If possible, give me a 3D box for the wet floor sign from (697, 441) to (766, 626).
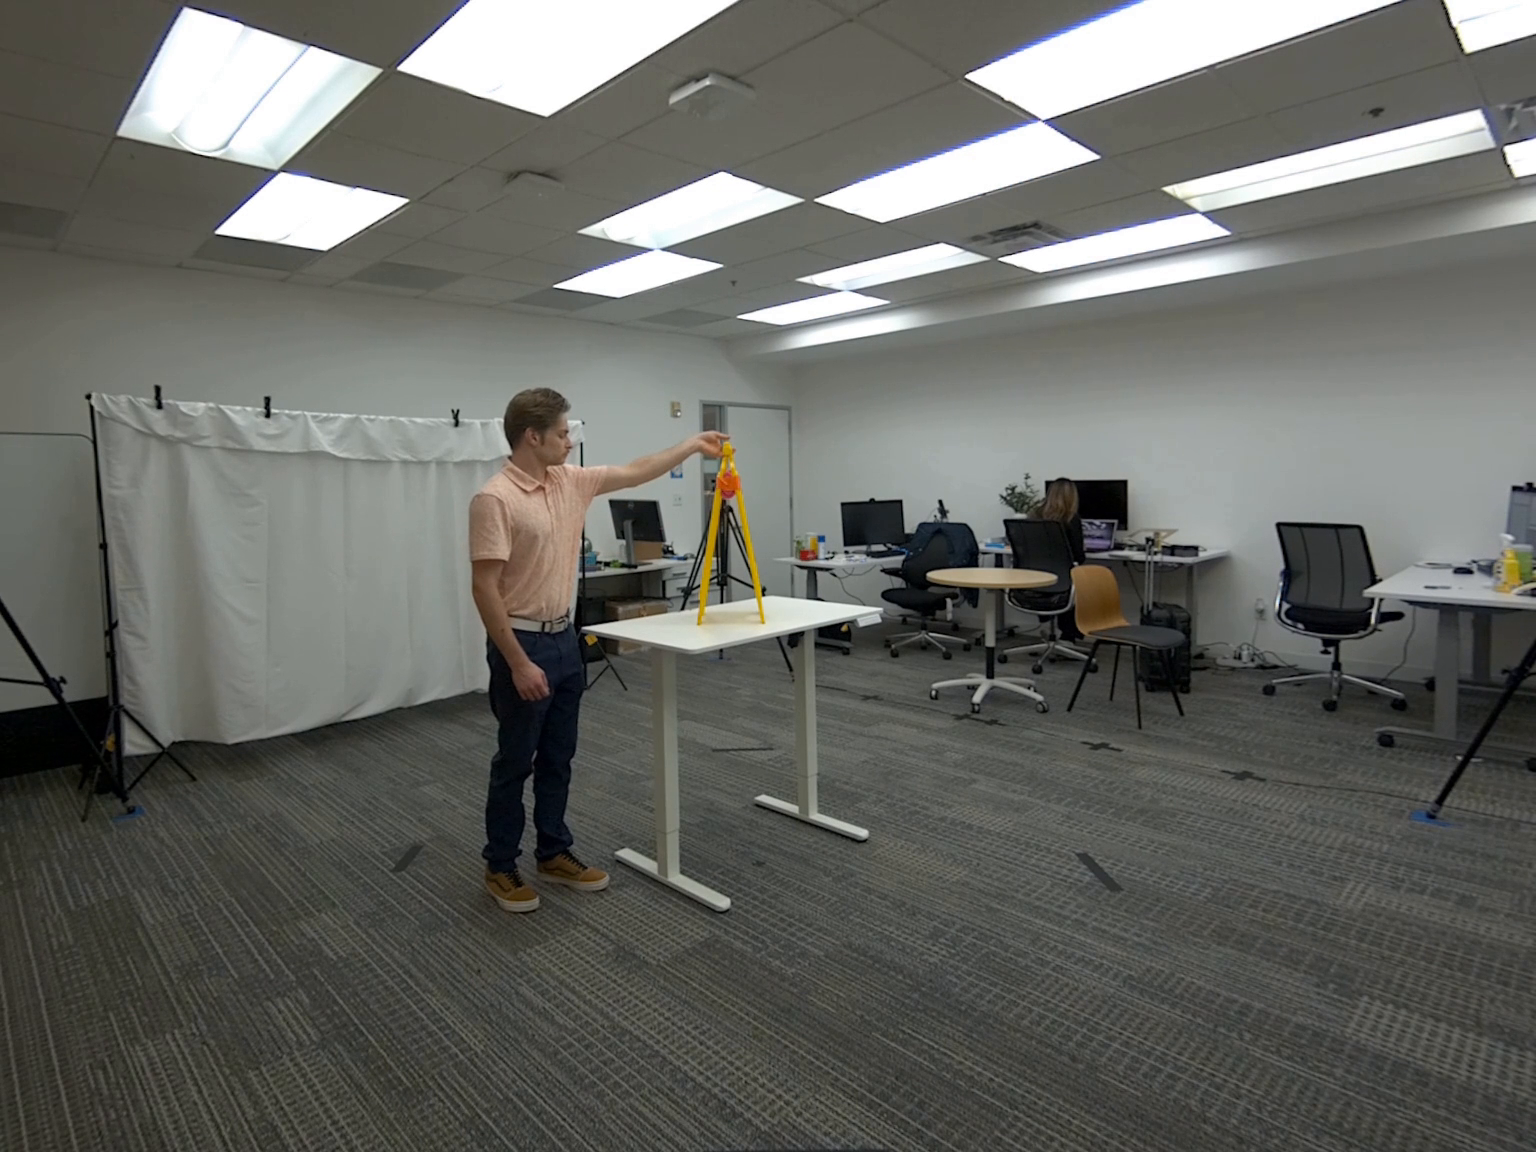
[{"bbox_3d":[-0.139,-0.157,3.164,0.291,0.645,0.282,-1,3,3],"label":"wet floor sign"}]
